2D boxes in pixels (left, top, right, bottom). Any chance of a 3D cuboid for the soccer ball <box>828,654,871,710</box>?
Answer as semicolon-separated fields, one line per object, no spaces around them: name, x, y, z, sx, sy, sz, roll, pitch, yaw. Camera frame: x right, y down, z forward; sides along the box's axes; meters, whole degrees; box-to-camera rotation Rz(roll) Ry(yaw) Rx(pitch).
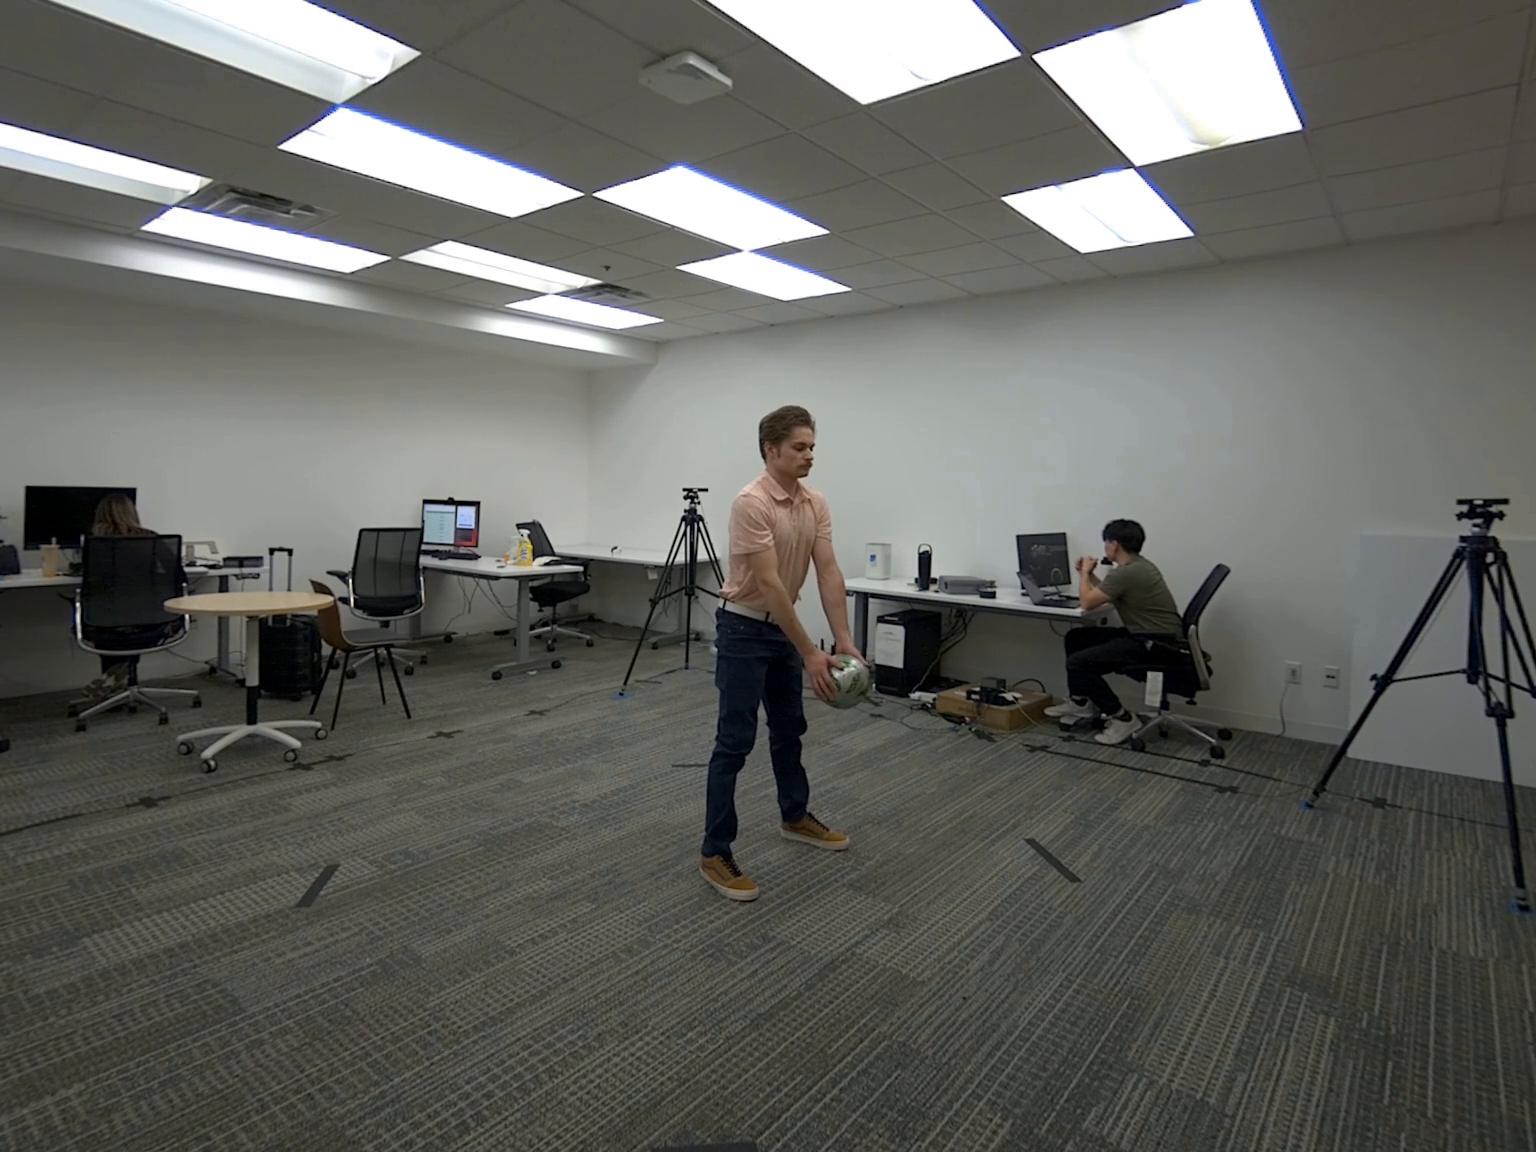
soccer ball;0.255;0.358;2.915;0.187;0.187;0.188;1;4;-2
